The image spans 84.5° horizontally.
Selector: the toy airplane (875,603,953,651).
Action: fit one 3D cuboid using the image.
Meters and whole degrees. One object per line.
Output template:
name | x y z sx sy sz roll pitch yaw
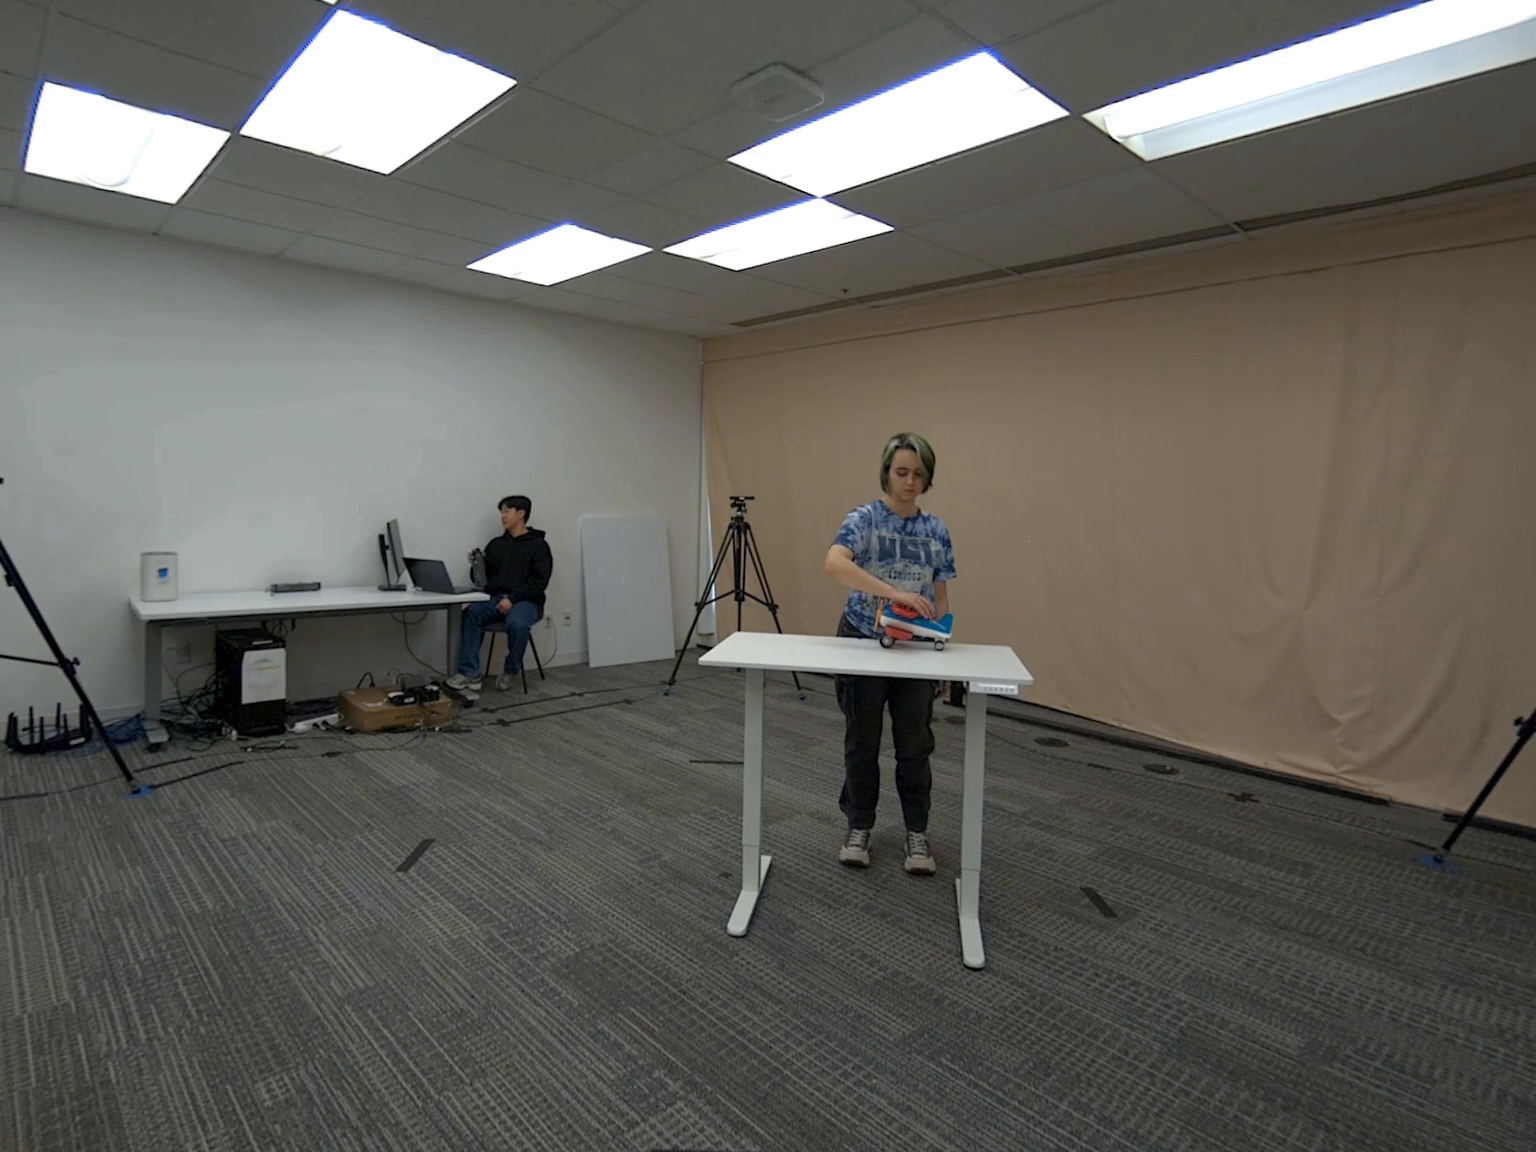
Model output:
toy airplane | 0.505 0.176 2.962 0.257 0.156 0.254 0 3 -12
